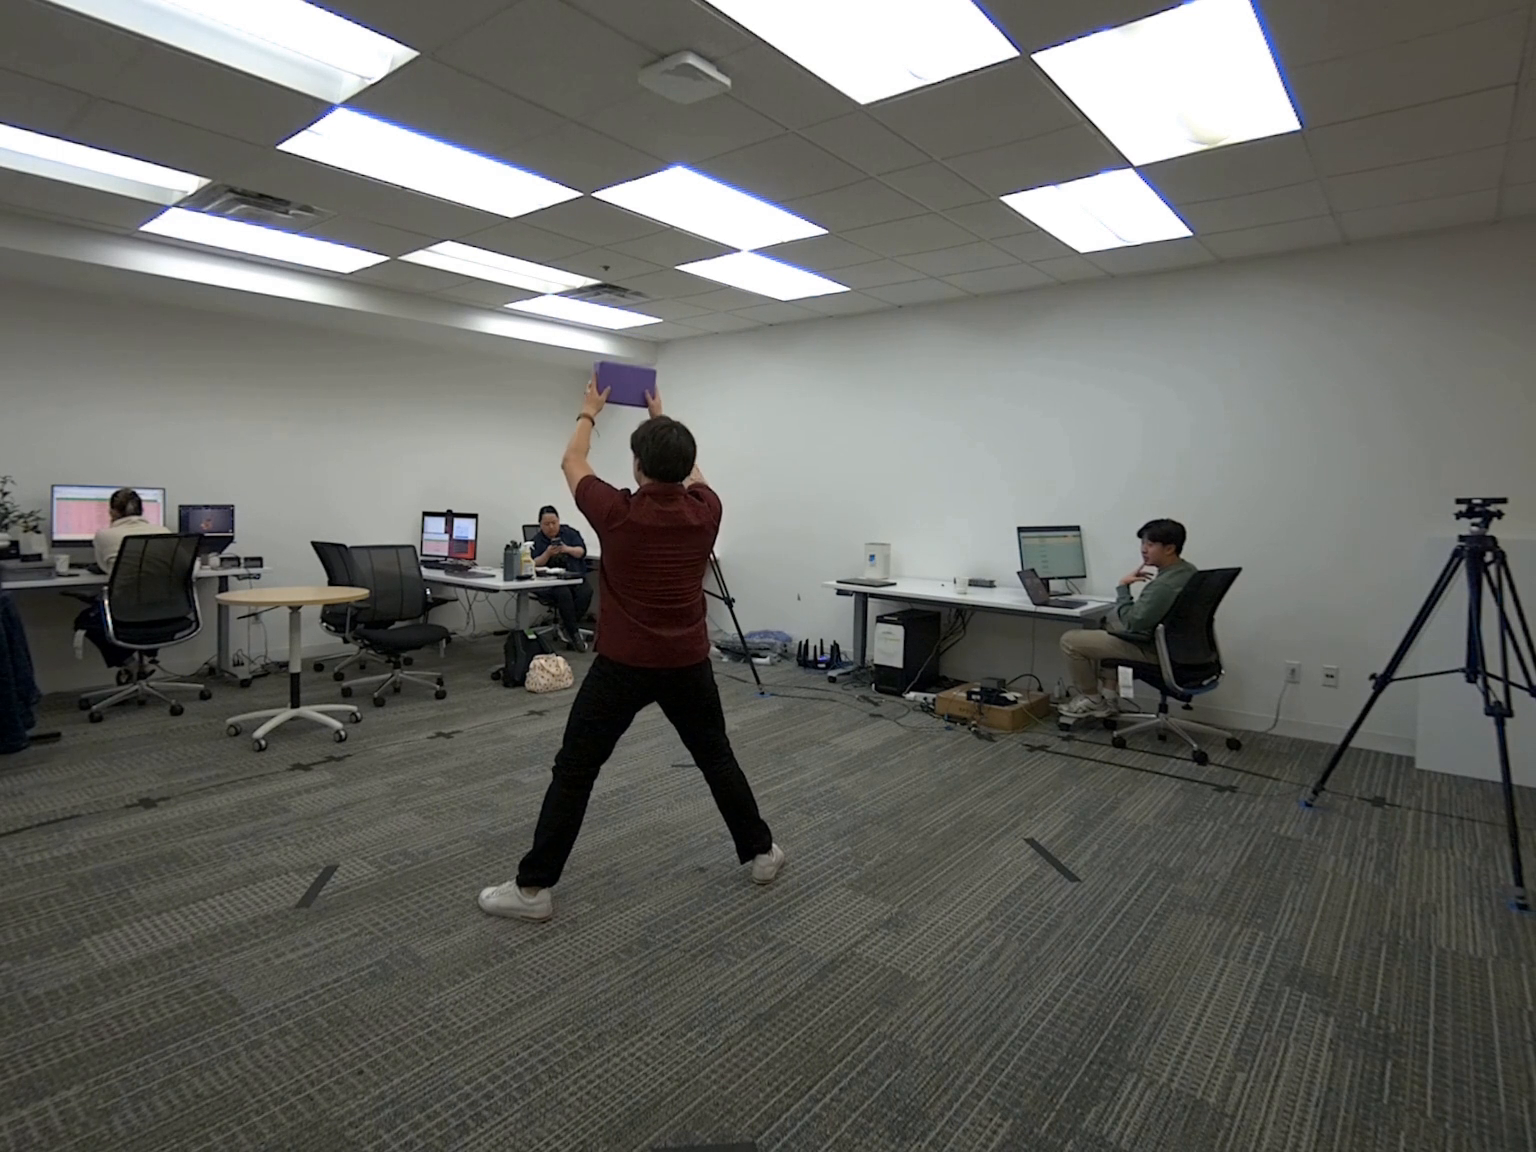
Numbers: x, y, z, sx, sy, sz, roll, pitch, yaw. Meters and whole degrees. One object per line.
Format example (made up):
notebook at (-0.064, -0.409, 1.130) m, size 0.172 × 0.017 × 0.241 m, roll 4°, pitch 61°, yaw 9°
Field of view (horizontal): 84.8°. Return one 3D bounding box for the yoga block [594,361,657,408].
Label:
yoga block at (-0.540, -0.688, 3.134) m, size 0.224 × 0.148 × 0.079 m, roll 1°, pitch 12°, yaw -24°
